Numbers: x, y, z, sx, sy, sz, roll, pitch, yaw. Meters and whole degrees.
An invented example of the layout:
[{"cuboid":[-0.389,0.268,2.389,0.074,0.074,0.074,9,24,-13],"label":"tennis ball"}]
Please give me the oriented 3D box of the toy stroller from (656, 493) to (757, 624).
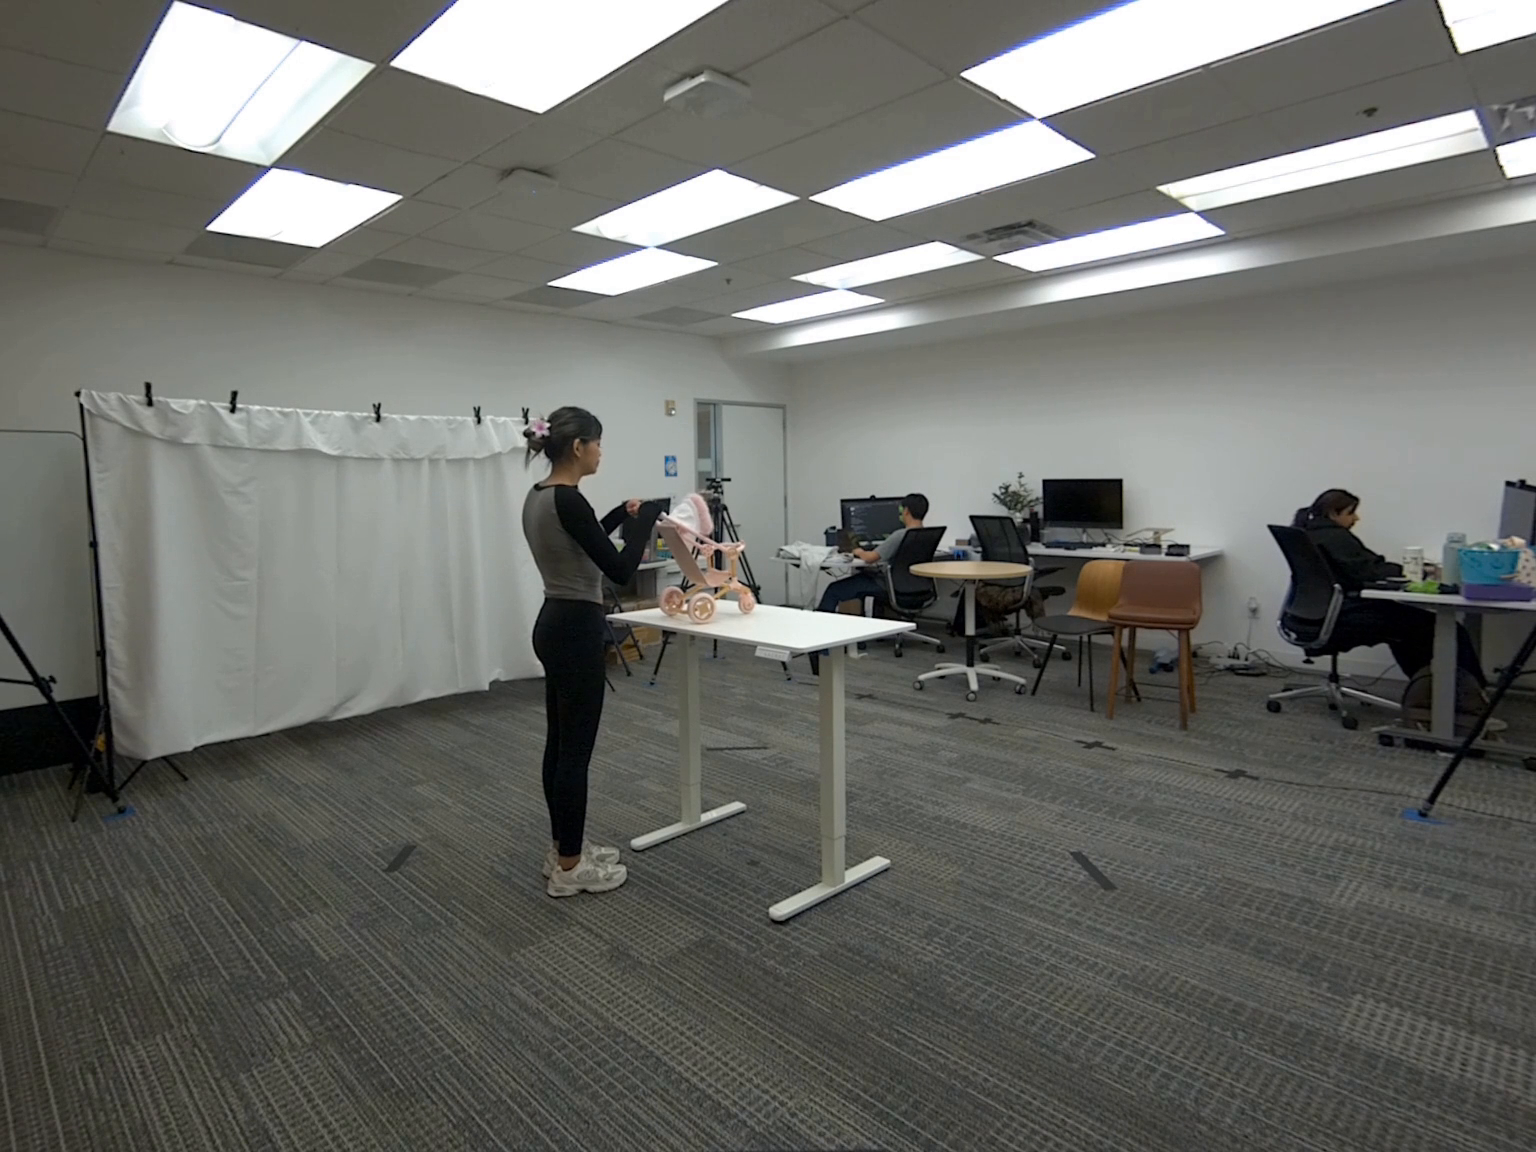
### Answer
[{"cuboid":[-0.250,-0.066,3.147,0.337,0.529,0.288,-21,11,-24],"label":"toy stroller"}]
